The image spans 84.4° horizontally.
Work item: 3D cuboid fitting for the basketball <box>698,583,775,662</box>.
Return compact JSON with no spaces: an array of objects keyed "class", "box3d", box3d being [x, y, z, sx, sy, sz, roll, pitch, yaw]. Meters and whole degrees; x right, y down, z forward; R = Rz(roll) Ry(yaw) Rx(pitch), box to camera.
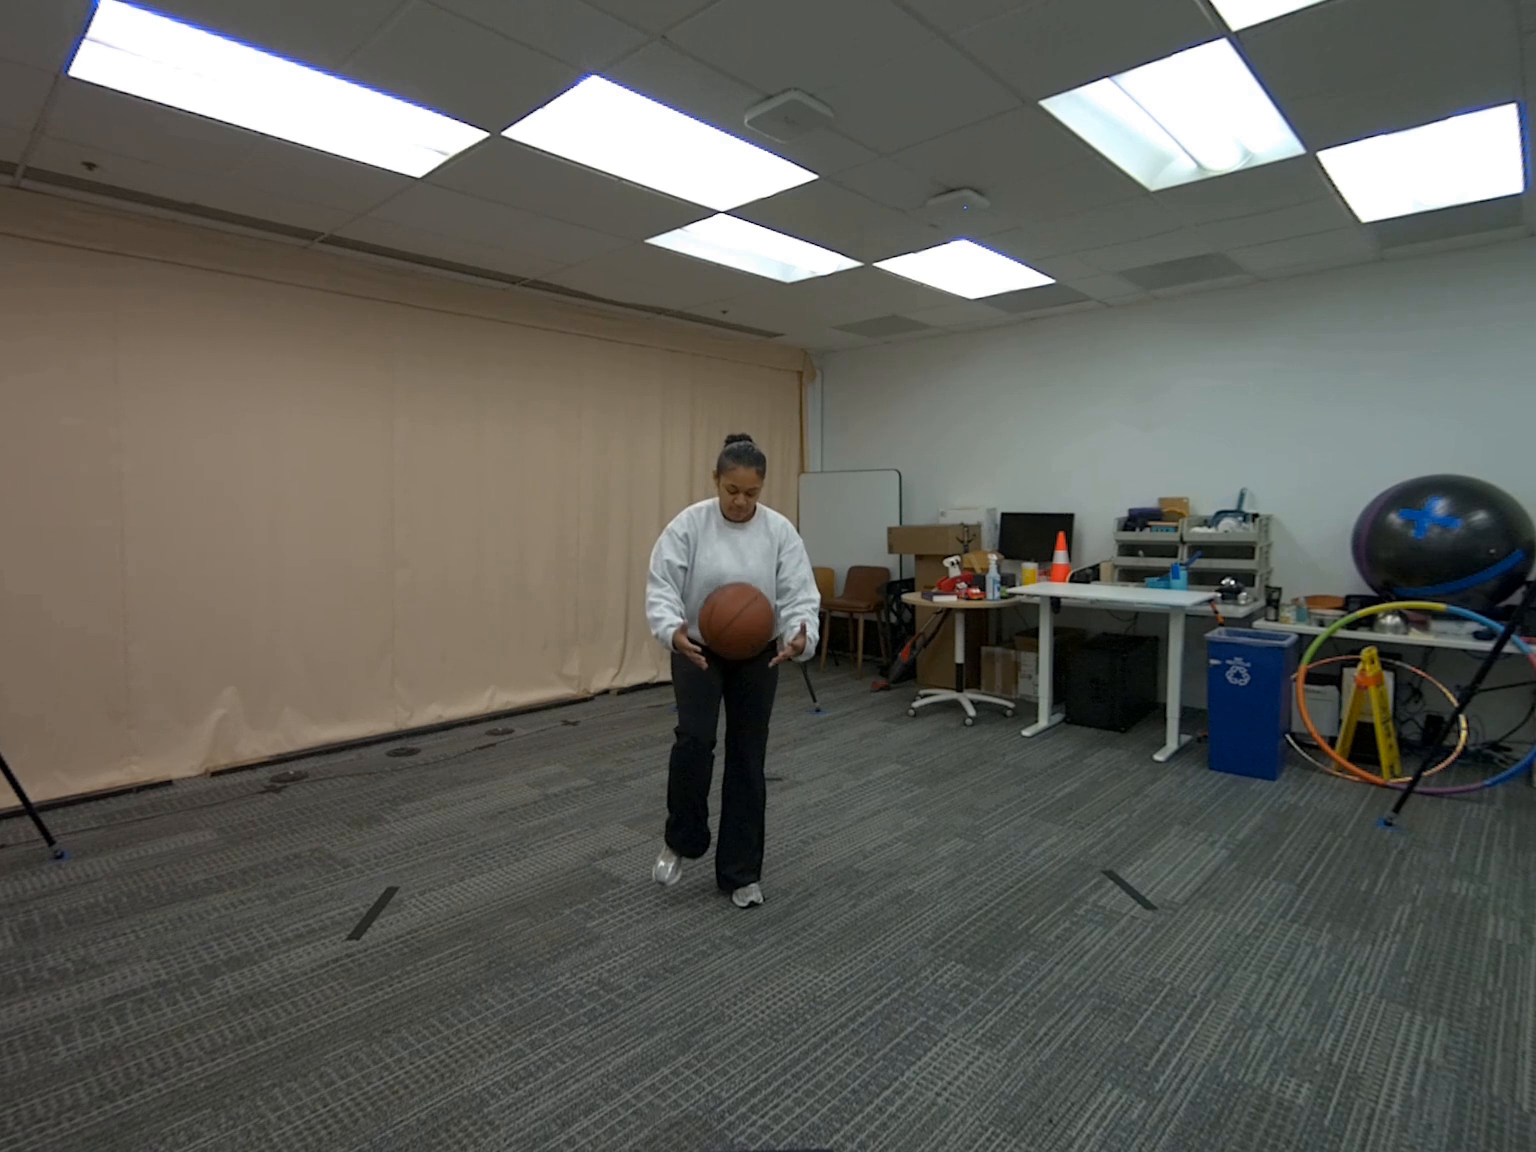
[{"class":"basketball","box3d":[-0.096,0.172,2.614,0.236,0.235,0.237,0,4,-2]}]
